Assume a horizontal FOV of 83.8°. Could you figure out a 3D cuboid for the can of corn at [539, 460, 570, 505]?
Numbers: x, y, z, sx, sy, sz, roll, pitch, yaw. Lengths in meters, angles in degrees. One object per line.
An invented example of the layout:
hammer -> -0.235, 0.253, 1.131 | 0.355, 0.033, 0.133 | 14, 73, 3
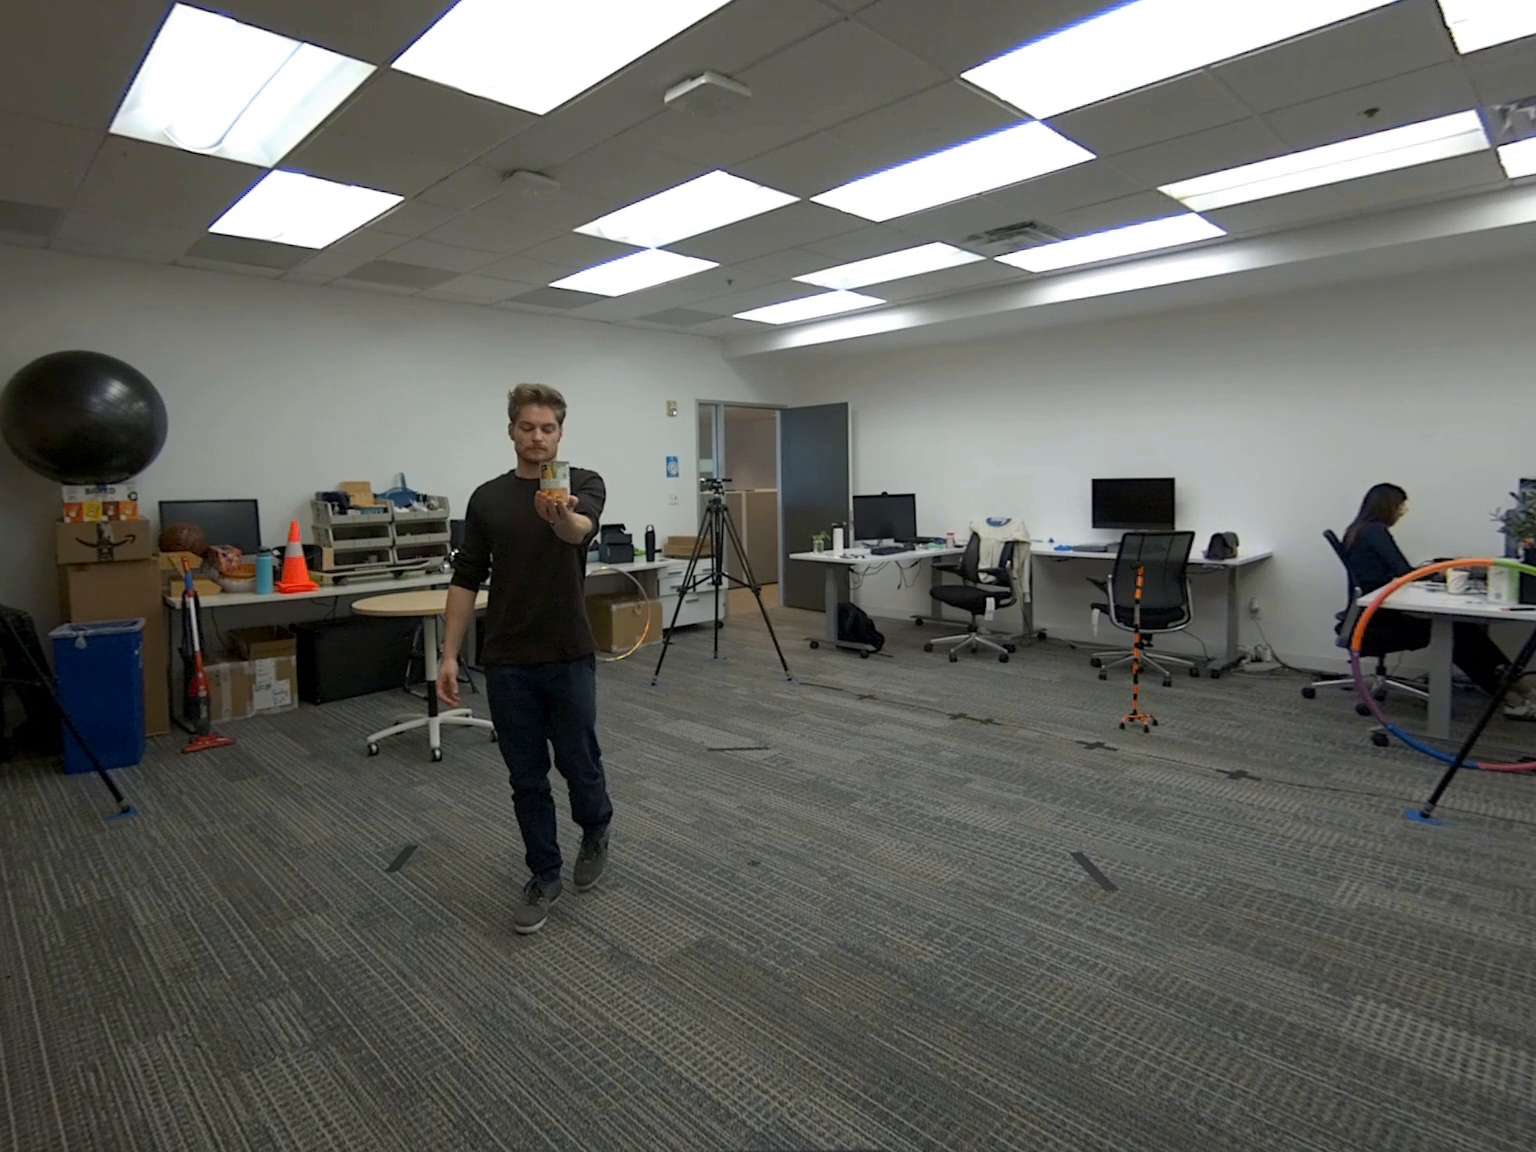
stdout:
can of corn -> -0.543, -0.232, 2.176 | 0.074, 0.111, 0.074 | -4, 1, -2
